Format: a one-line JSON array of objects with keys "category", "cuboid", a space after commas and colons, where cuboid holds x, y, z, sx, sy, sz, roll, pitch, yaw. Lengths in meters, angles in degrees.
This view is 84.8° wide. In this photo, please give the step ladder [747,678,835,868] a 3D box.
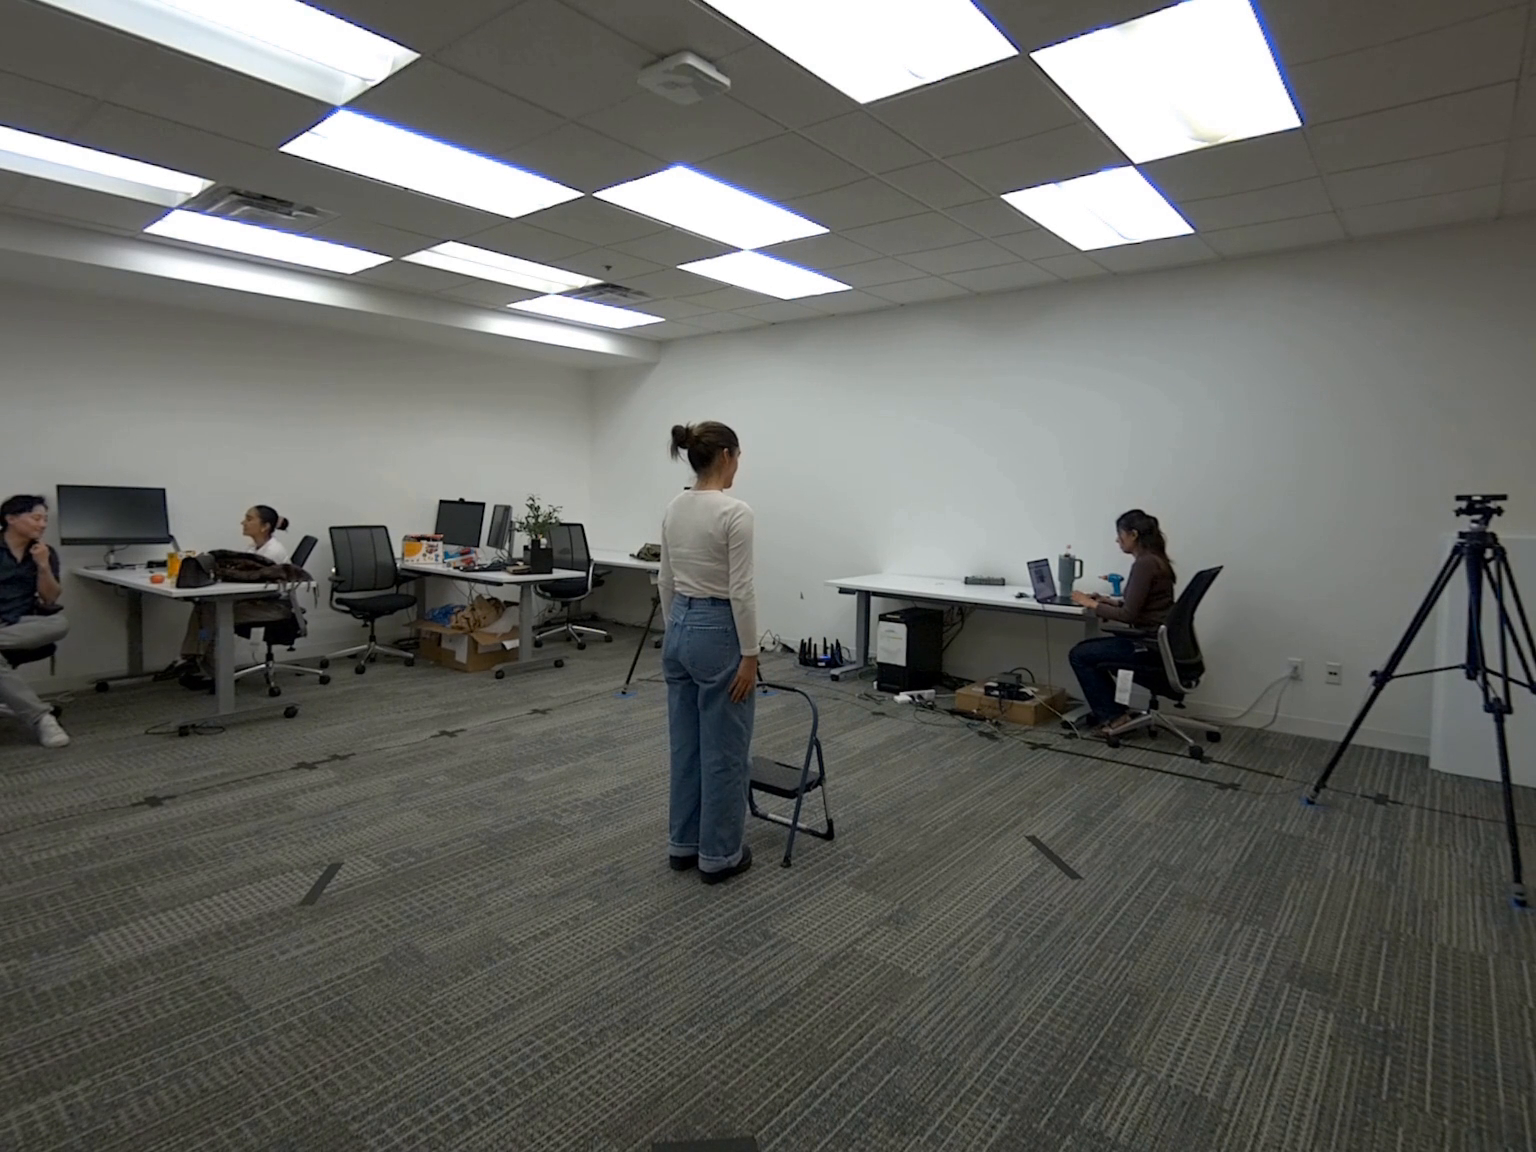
[{"category": "step ladder", "cuboid": [-0.001, 0.736, 3.369, 0.445, 0.604, 0.339, 4, 5, 38]}]
